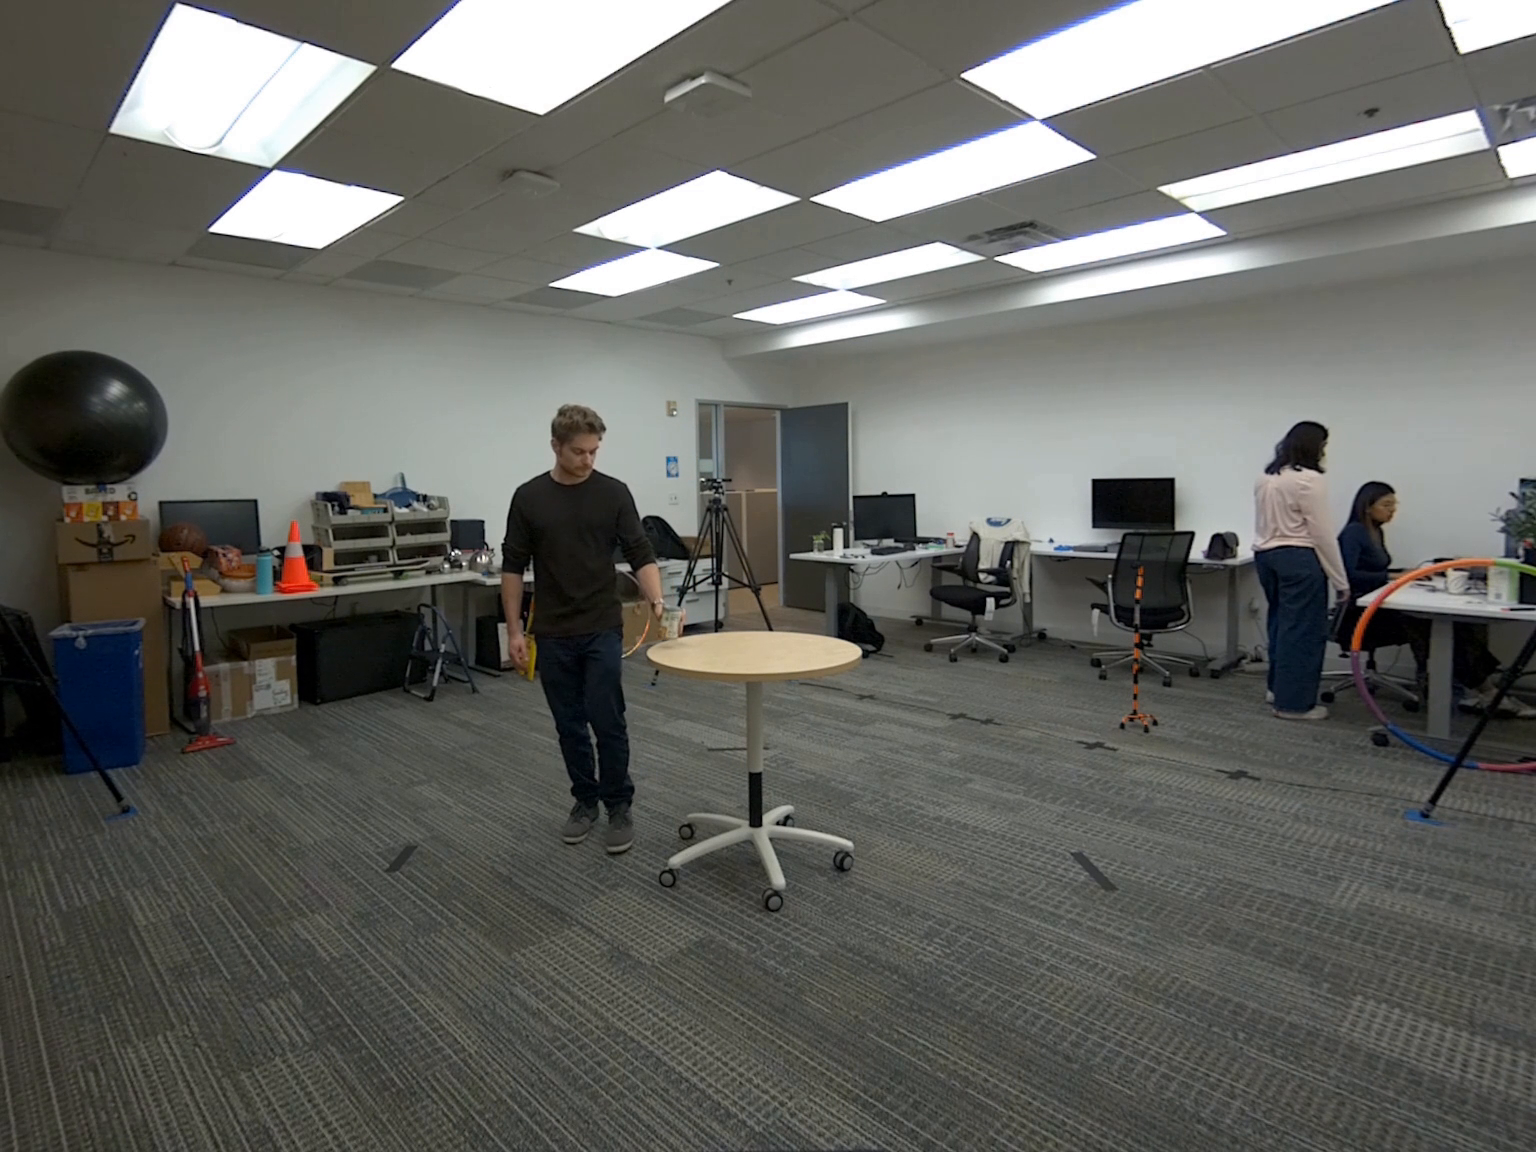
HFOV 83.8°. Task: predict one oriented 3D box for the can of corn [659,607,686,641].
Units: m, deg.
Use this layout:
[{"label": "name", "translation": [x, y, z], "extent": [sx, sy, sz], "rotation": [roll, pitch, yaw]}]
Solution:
[{"label": "can of corn", "translation": [-0.350, 0.170, 3.135], "extent": [0.074, 0.110, 0.074], "rotation": [4, 5, -2]}]
